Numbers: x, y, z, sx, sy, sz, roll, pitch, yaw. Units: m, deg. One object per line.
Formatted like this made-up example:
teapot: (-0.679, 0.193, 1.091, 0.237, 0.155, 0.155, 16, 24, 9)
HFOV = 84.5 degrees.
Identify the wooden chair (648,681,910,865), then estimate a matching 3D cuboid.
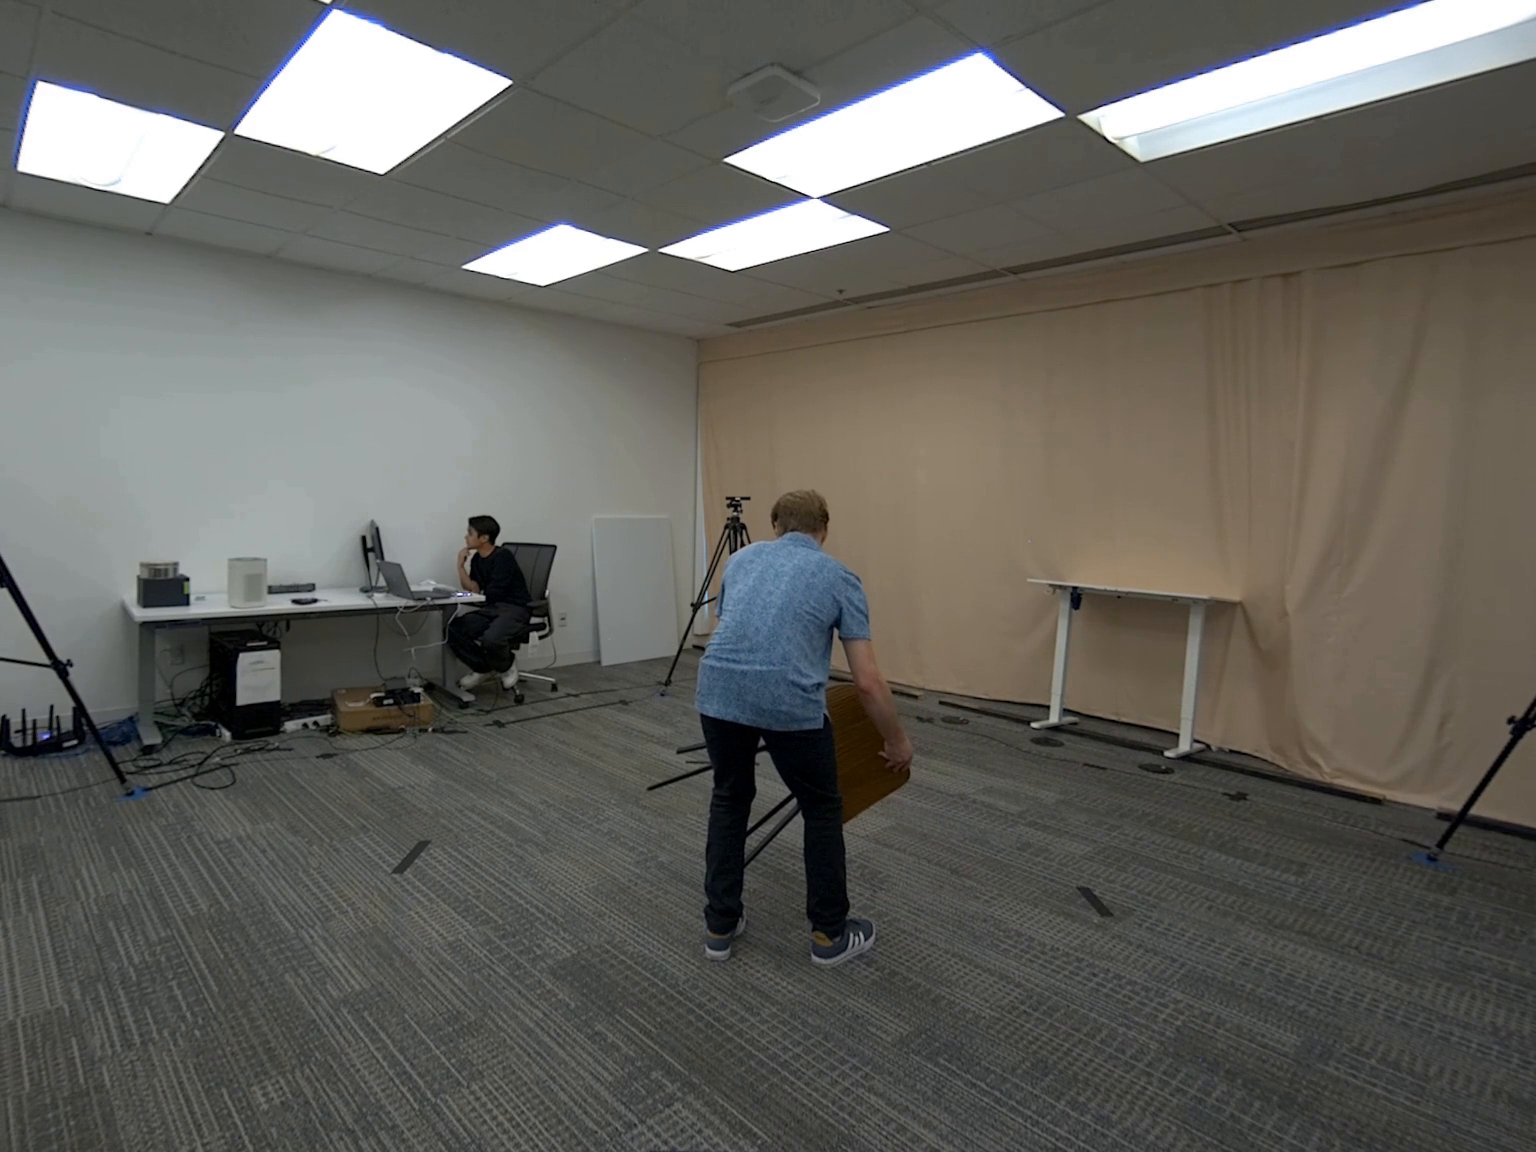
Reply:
wooden chair: (0.072, 0.702, 3.079, 0.880, 0.479, 0.520, -32, -1, 14)
